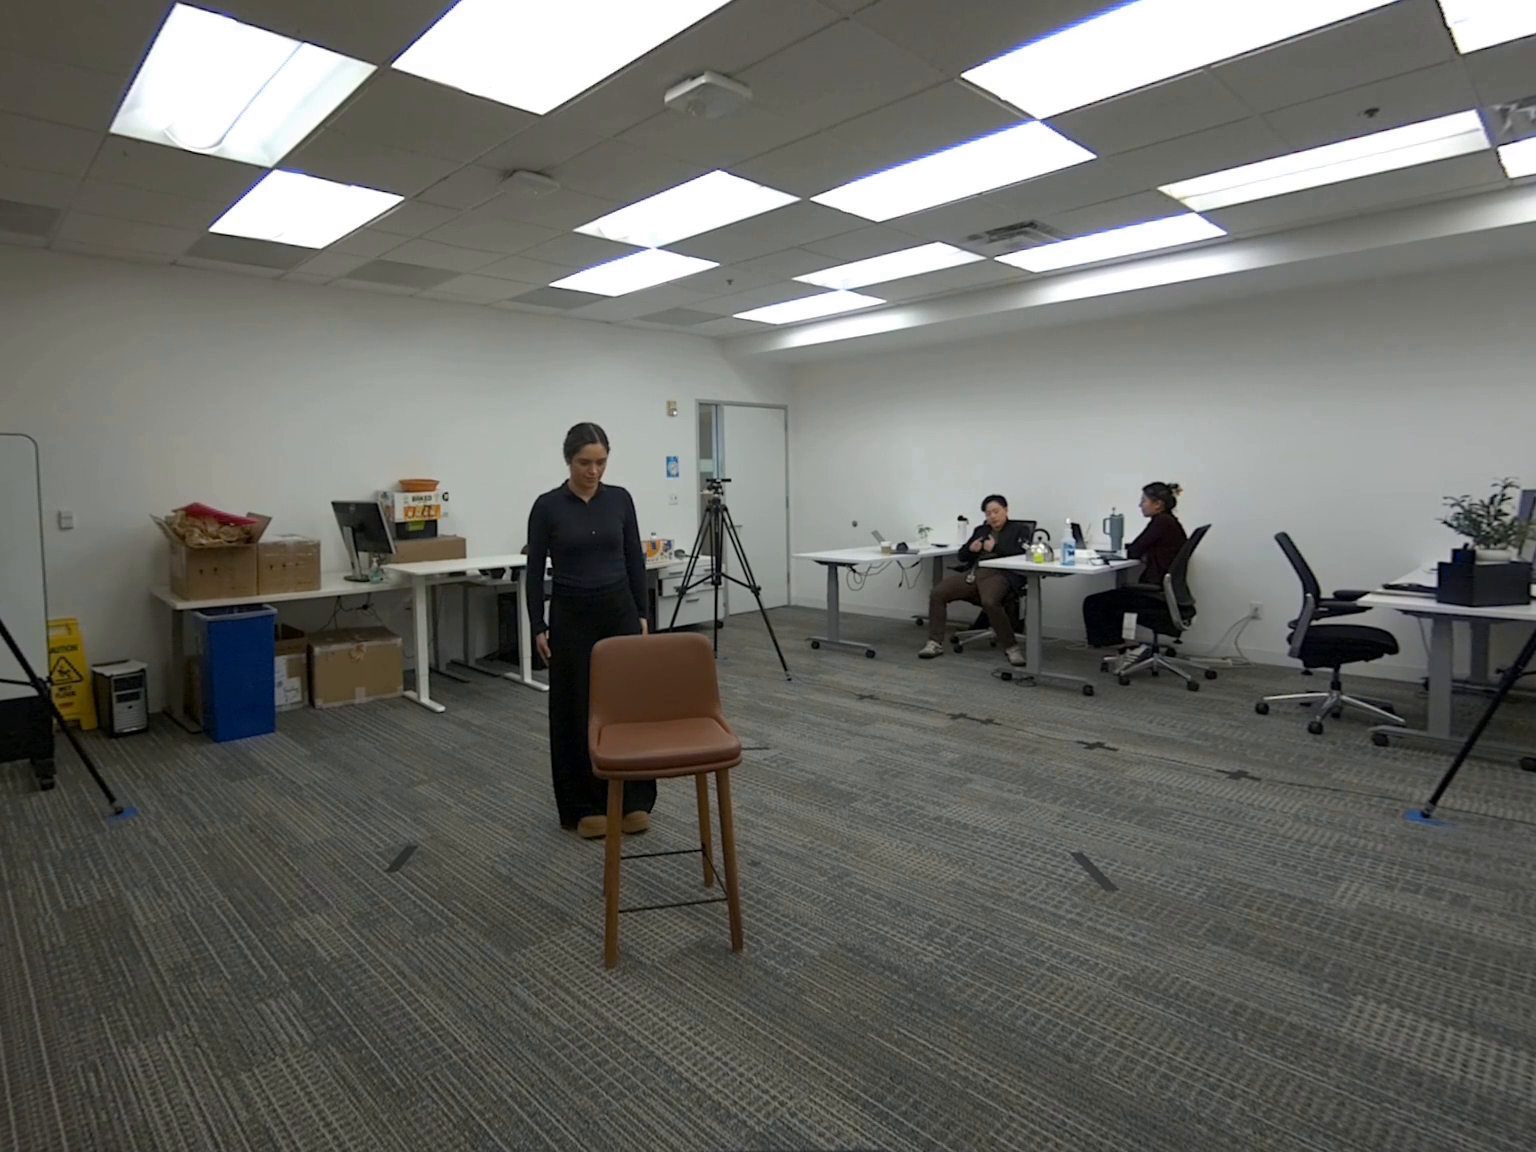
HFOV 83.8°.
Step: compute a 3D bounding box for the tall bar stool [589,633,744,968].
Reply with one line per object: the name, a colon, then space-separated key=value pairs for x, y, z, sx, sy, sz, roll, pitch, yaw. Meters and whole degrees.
tall bar stool: x=-0.329 y=0.655 z=2.696 sx=0.452 sy=0.888 sz=0.473 roll=-2 pitch=2 yaw=-12
